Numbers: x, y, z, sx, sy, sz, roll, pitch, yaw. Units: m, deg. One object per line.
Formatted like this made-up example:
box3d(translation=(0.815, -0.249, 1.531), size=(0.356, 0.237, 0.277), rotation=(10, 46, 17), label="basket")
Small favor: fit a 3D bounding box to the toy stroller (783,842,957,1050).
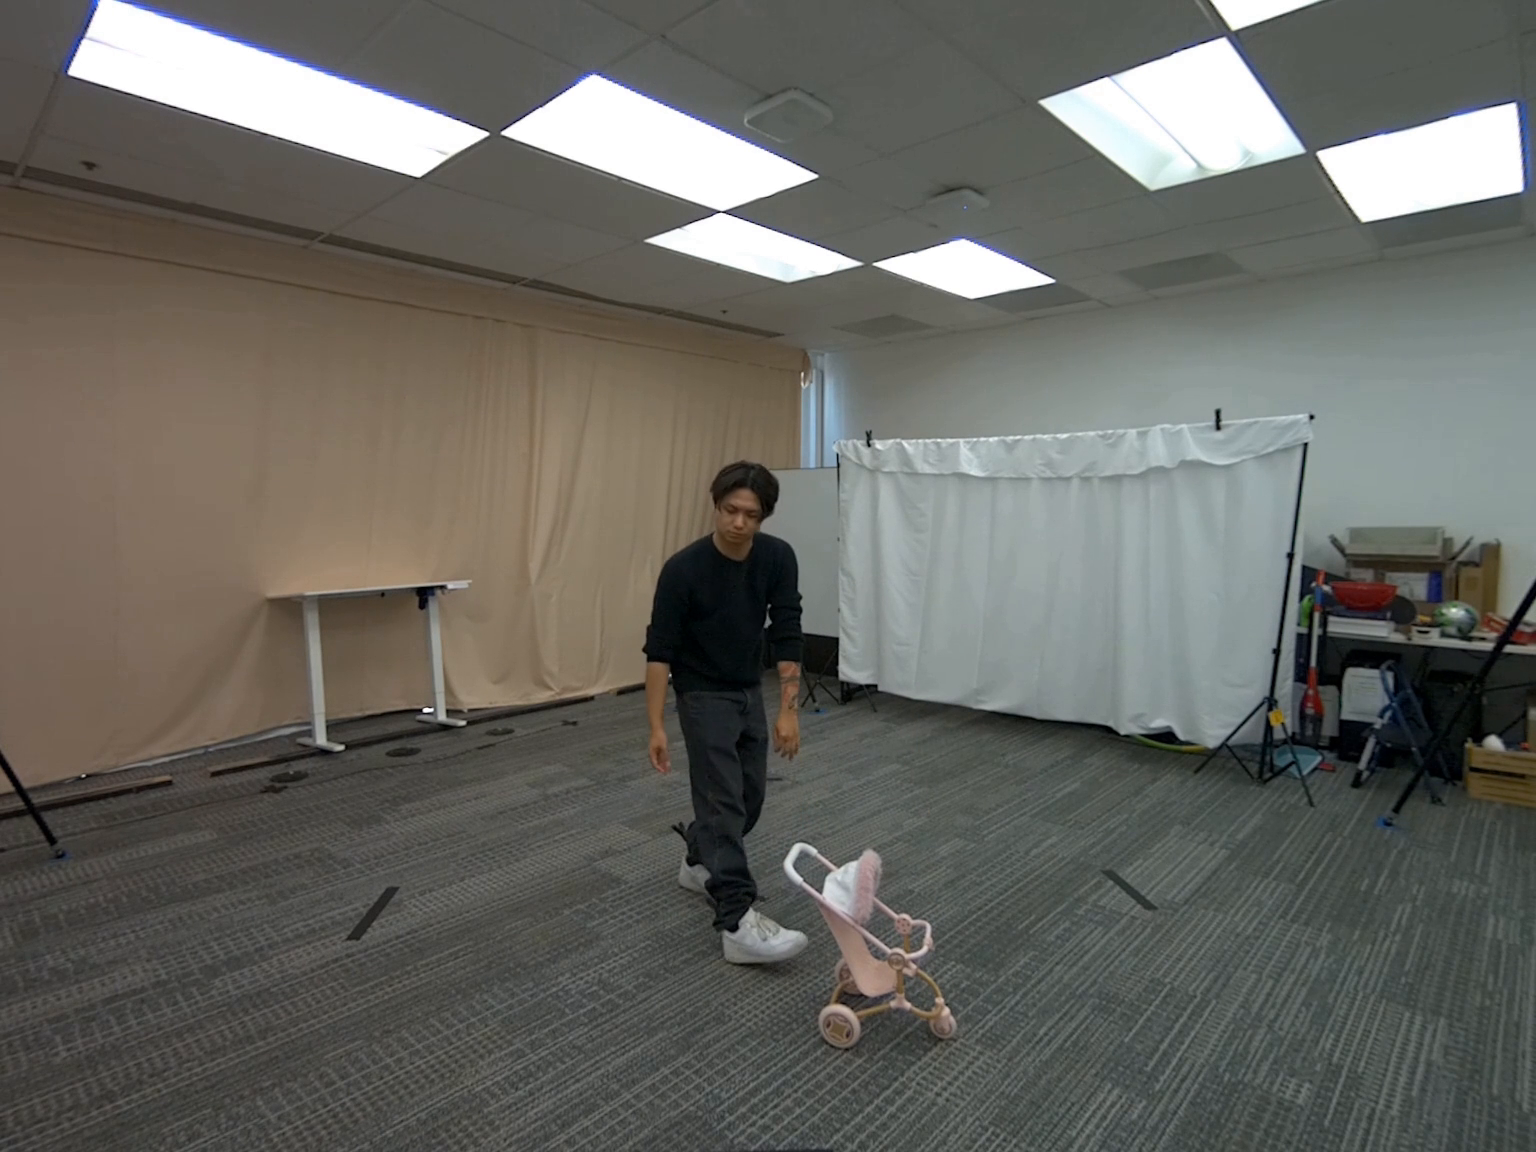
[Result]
box3d(translation=(0.285, 0.979, 2.248), size=(0.347, 0.536, 0.276), rotation=(-15, -2, 21), label="toy stroller")
